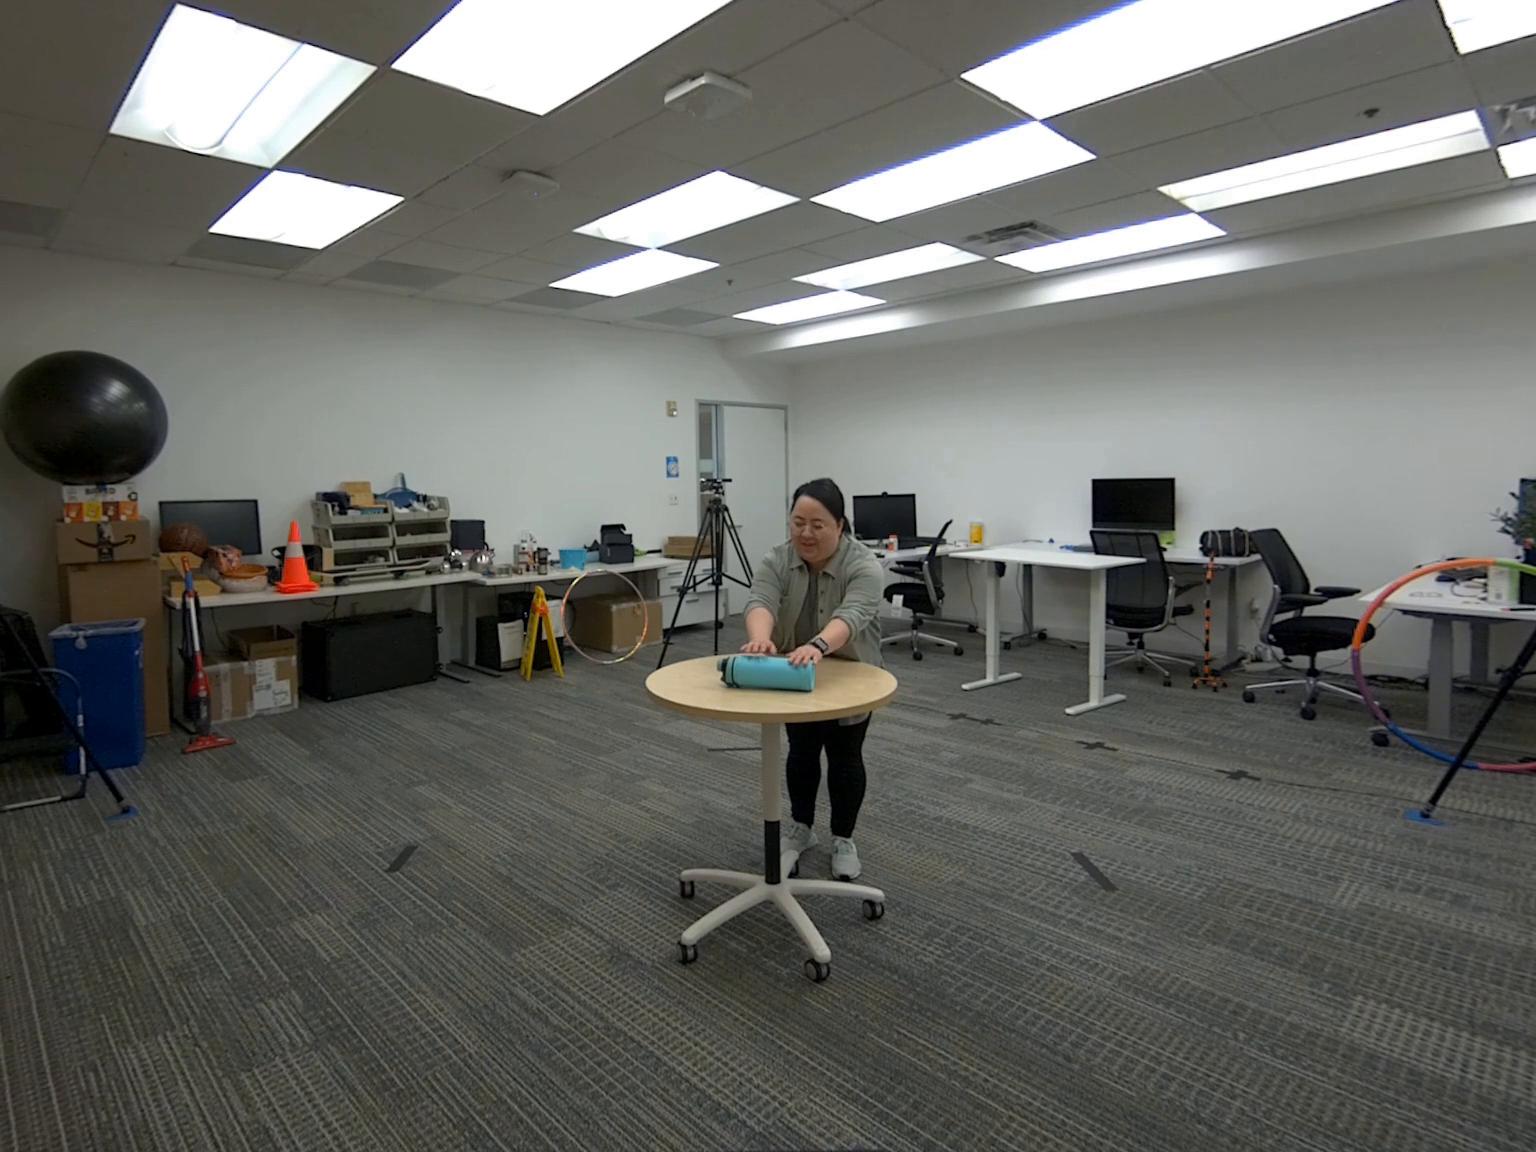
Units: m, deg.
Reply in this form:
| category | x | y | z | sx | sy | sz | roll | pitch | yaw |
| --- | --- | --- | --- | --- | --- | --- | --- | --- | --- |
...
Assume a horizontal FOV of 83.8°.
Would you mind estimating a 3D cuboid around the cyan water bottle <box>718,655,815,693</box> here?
| category | x | y | z | sx | sy | sz | roll | pitch | yaw |
| --- | --- | --- | --- | --- | --- | --- | --- | --- | --- |
| cyan water bottle | 0.000 | 0.284 | 2.509 | 0.286 | 0.092 | 0.091 | 1 | 5 | 11 |
